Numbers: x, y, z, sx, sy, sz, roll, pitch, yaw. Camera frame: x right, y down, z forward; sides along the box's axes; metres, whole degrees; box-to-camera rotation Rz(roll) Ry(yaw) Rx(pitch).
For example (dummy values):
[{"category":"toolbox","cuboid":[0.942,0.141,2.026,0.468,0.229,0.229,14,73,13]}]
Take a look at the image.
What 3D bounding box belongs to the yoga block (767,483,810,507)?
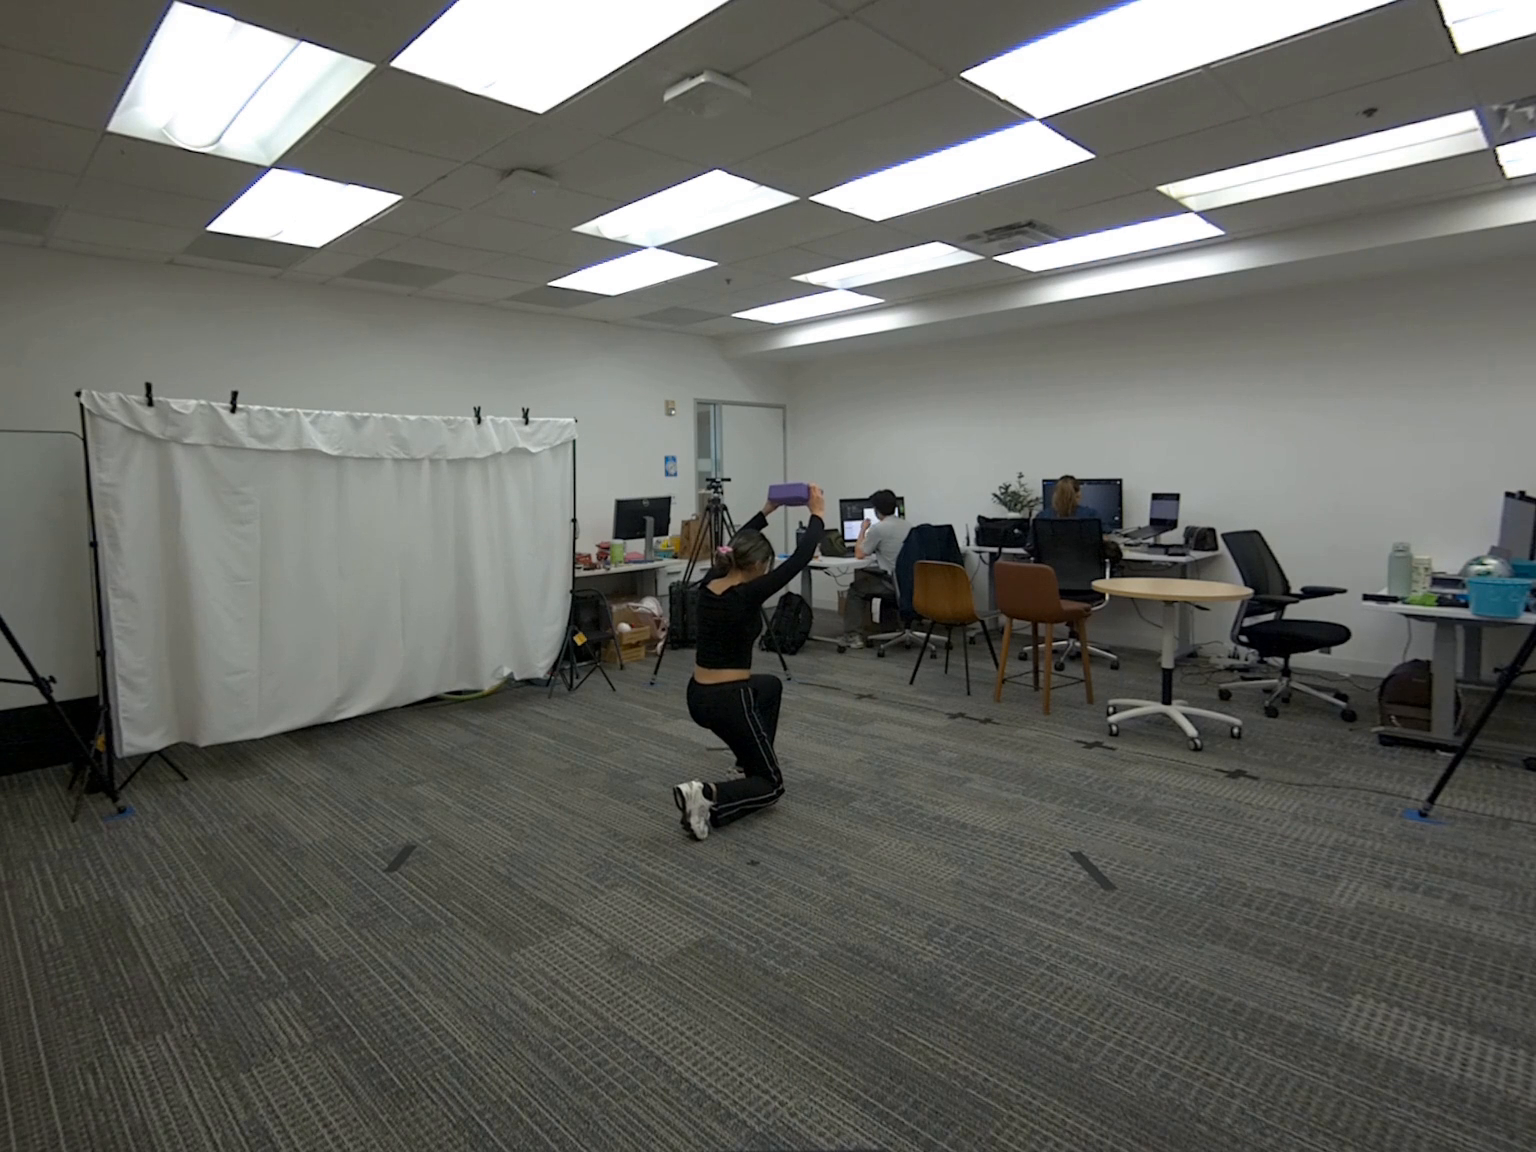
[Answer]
[{"category":"yoga block","cuboid":[0.119,-0.376,3.957,0.144,0.077,0.235,15,-8,-35]}]
